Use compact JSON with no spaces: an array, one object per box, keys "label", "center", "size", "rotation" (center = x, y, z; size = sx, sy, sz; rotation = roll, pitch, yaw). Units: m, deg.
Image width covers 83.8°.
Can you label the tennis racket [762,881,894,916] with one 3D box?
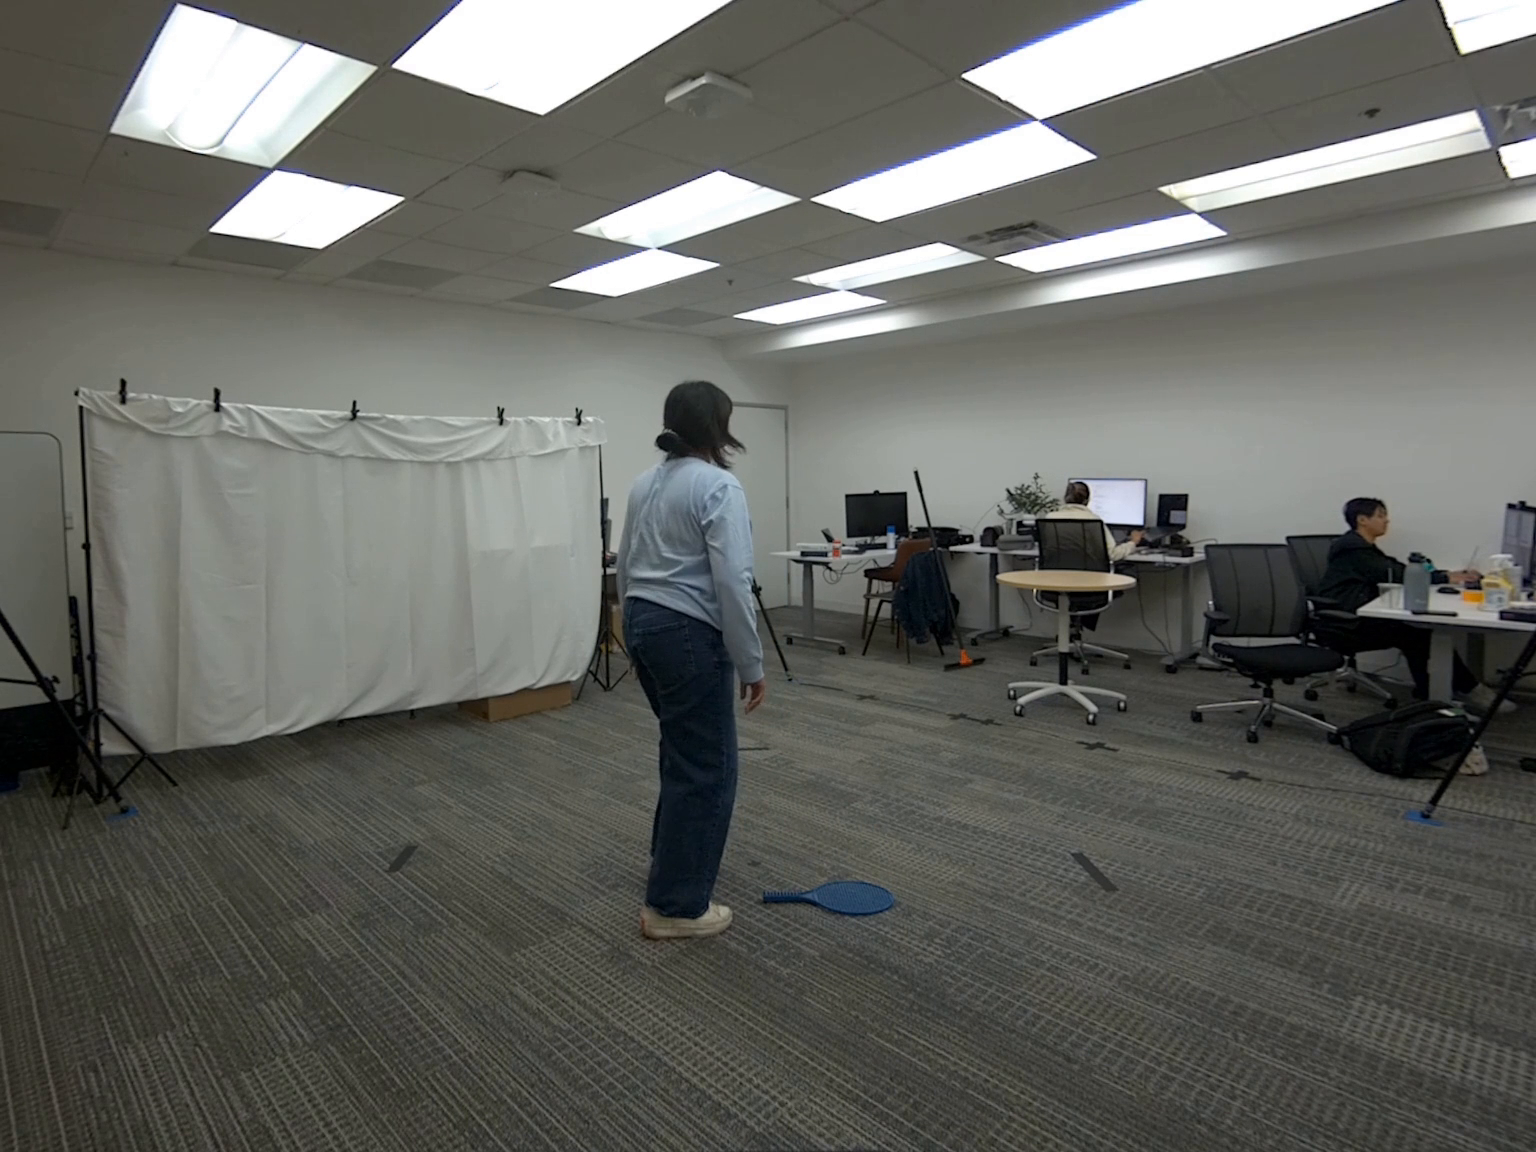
[{"label":"tennis racket","center":[0.202,1.057,2.825],"size":[0.433,0.031,0.214],"rotation":[0,6,0]}]
